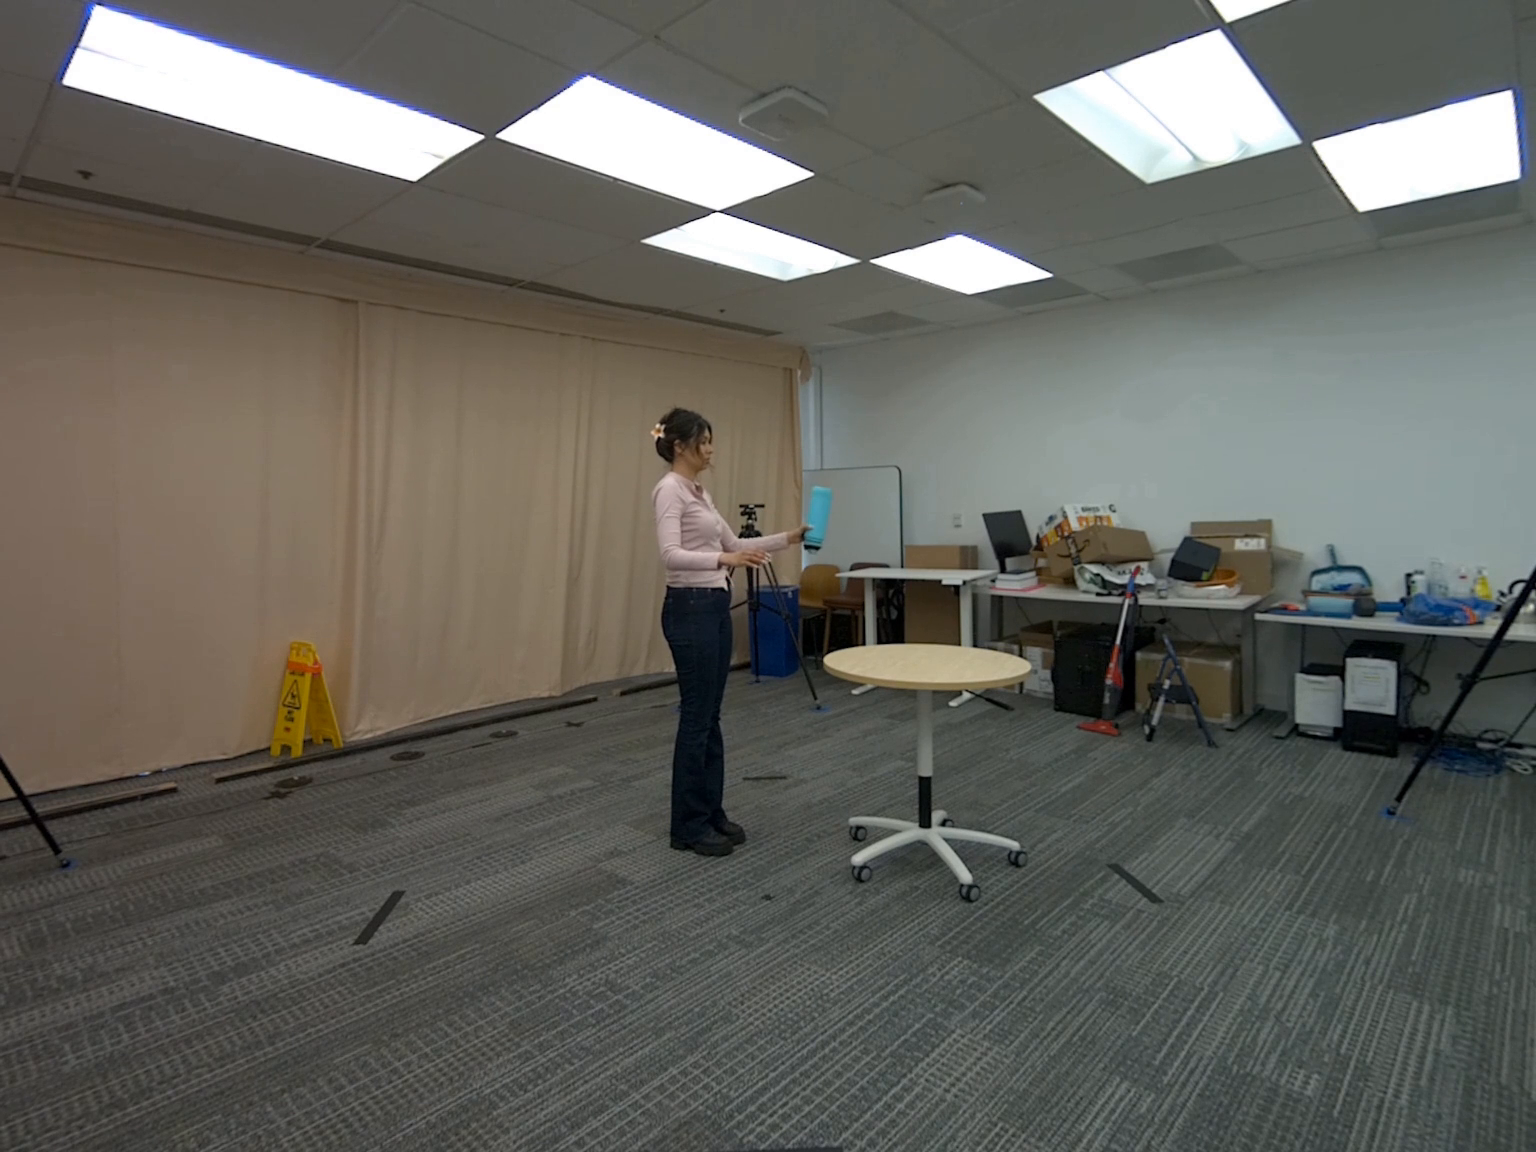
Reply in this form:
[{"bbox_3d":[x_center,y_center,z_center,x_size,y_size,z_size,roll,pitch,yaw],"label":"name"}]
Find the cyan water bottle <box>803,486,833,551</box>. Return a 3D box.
[{"bbox_3d":[0.210,-0.233,3.594,0.092,0.283,0.092,9,-1,-2],"label":"cyan water bottle"}]
